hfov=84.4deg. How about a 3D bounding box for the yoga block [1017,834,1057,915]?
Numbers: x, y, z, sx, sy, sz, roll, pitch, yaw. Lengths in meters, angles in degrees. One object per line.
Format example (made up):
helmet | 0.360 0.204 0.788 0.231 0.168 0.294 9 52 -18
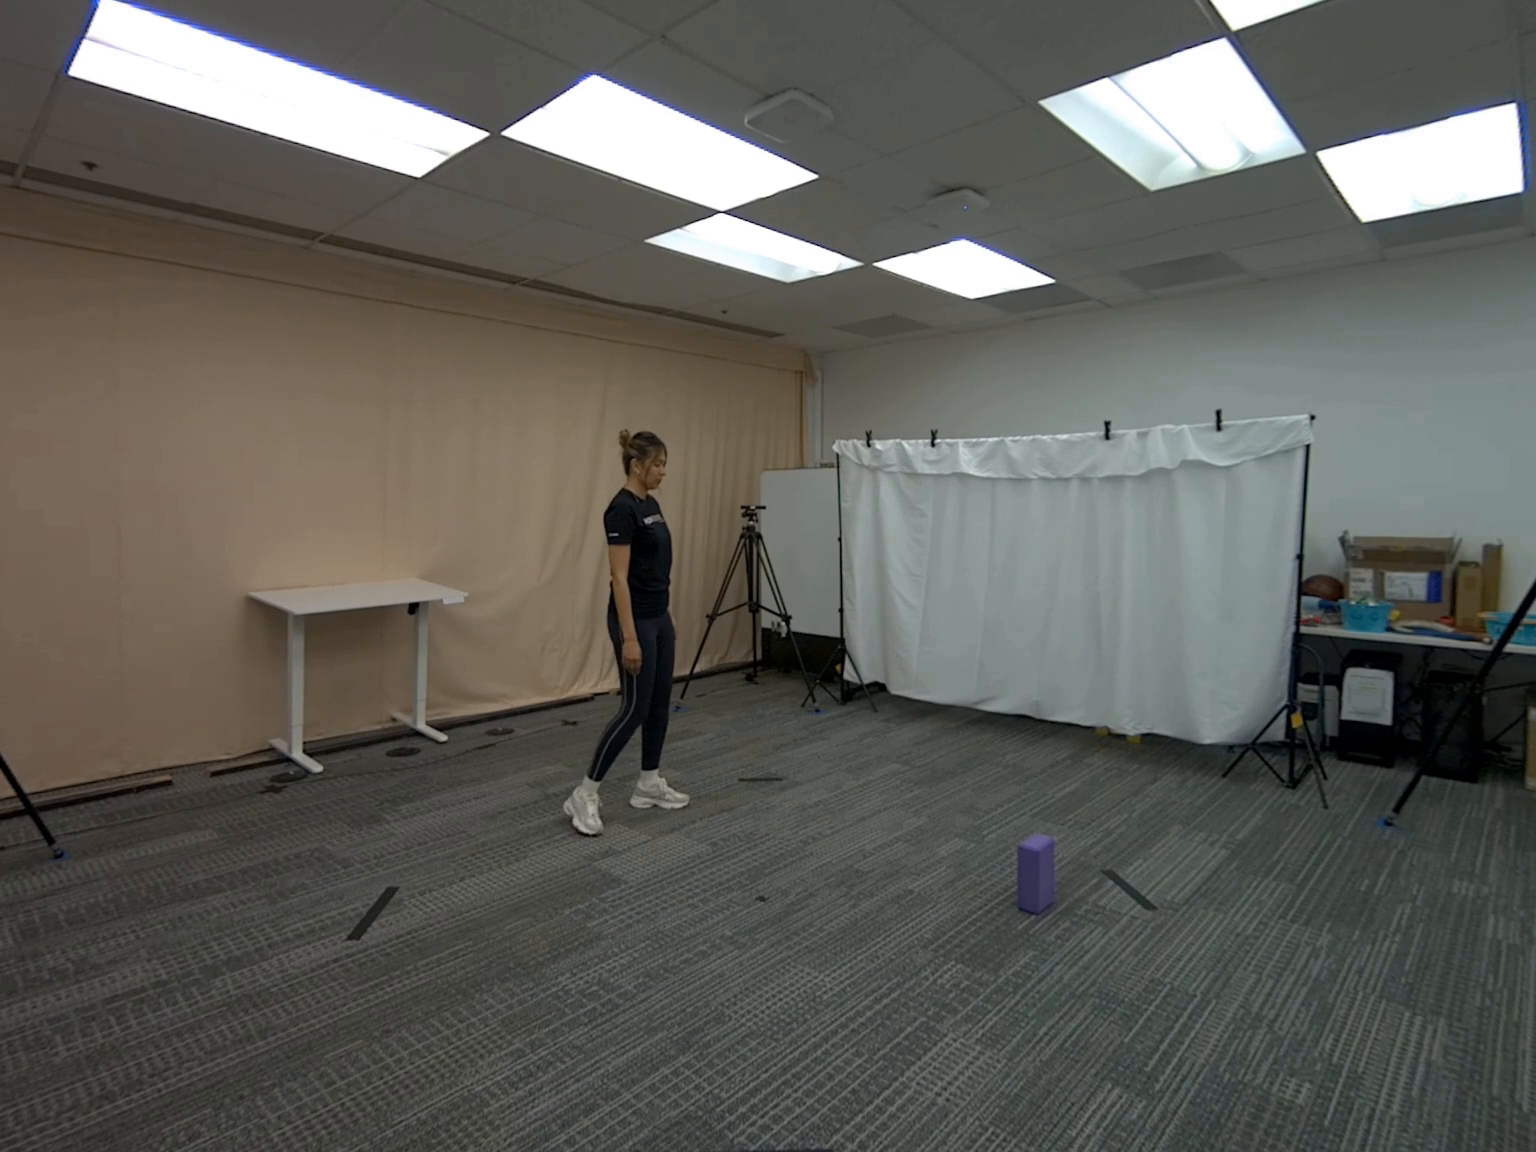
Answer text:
yoga block | 0.939 1.031 2.920 0.079 0.229 0.144 2 4 40
